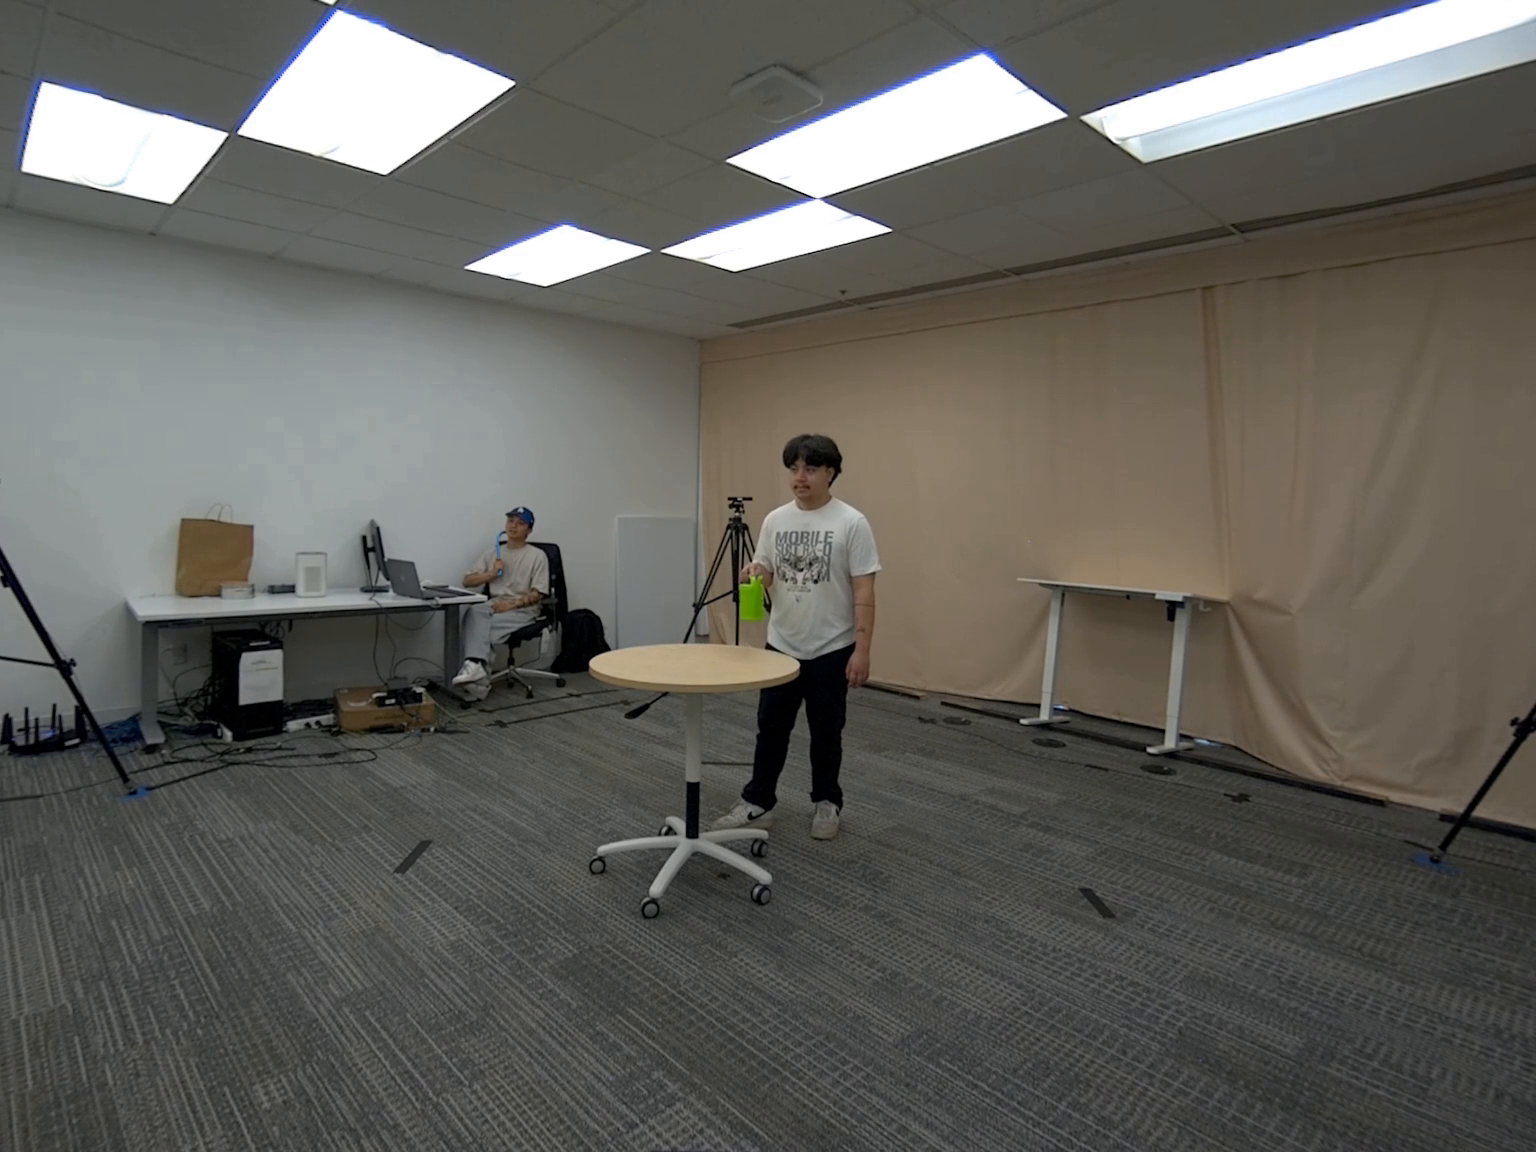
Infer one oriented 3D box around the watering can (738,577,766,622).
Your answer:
[{"bbox_3d":[-0.081,0.087,3.251,0.099,0.177,0.276,-2,1,8],"label":"watering can"}]
